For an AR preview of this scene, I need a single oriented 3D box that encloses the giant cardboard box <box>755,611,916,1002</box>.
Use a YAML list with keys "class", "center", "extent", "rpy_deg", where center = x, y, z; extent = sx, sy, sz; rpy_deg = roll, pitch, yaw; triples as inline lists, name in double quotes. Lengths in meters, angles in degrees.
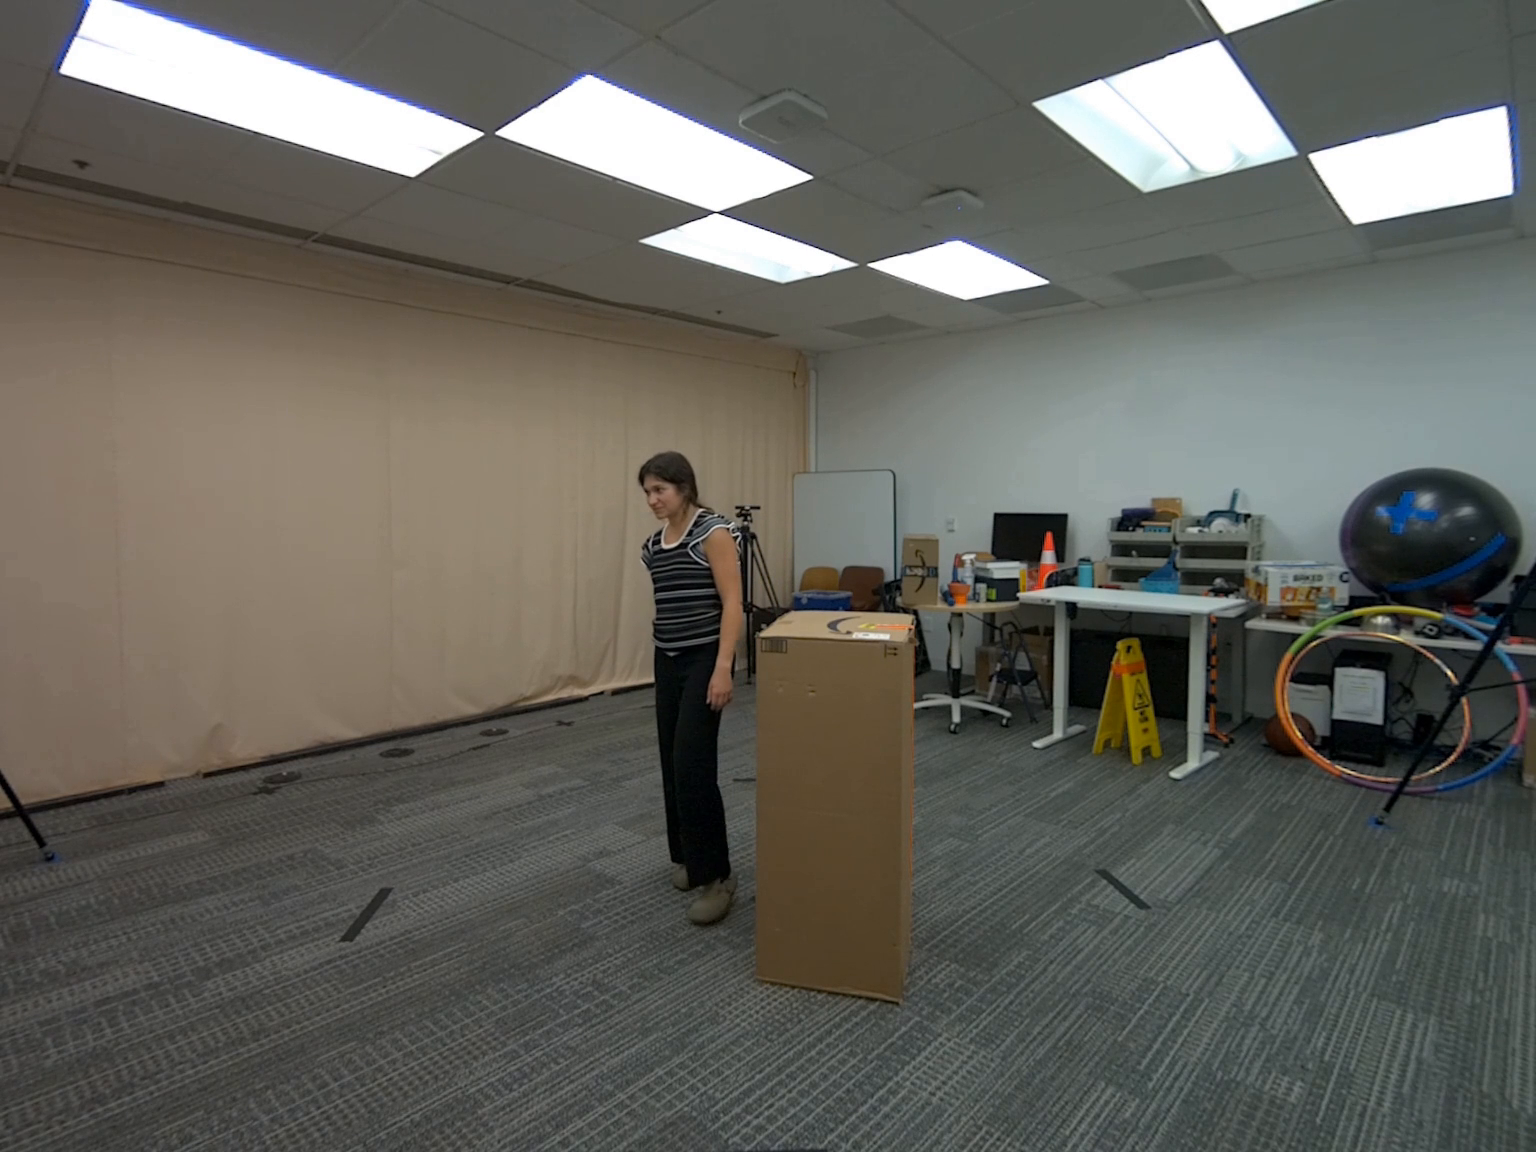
- class: "giant cardboard box"
  center: [0.233, 0.660, 2.654]
  extent: [0.433, 1.024, 0.569]
  rpy_deg: [1, 3, 14]
